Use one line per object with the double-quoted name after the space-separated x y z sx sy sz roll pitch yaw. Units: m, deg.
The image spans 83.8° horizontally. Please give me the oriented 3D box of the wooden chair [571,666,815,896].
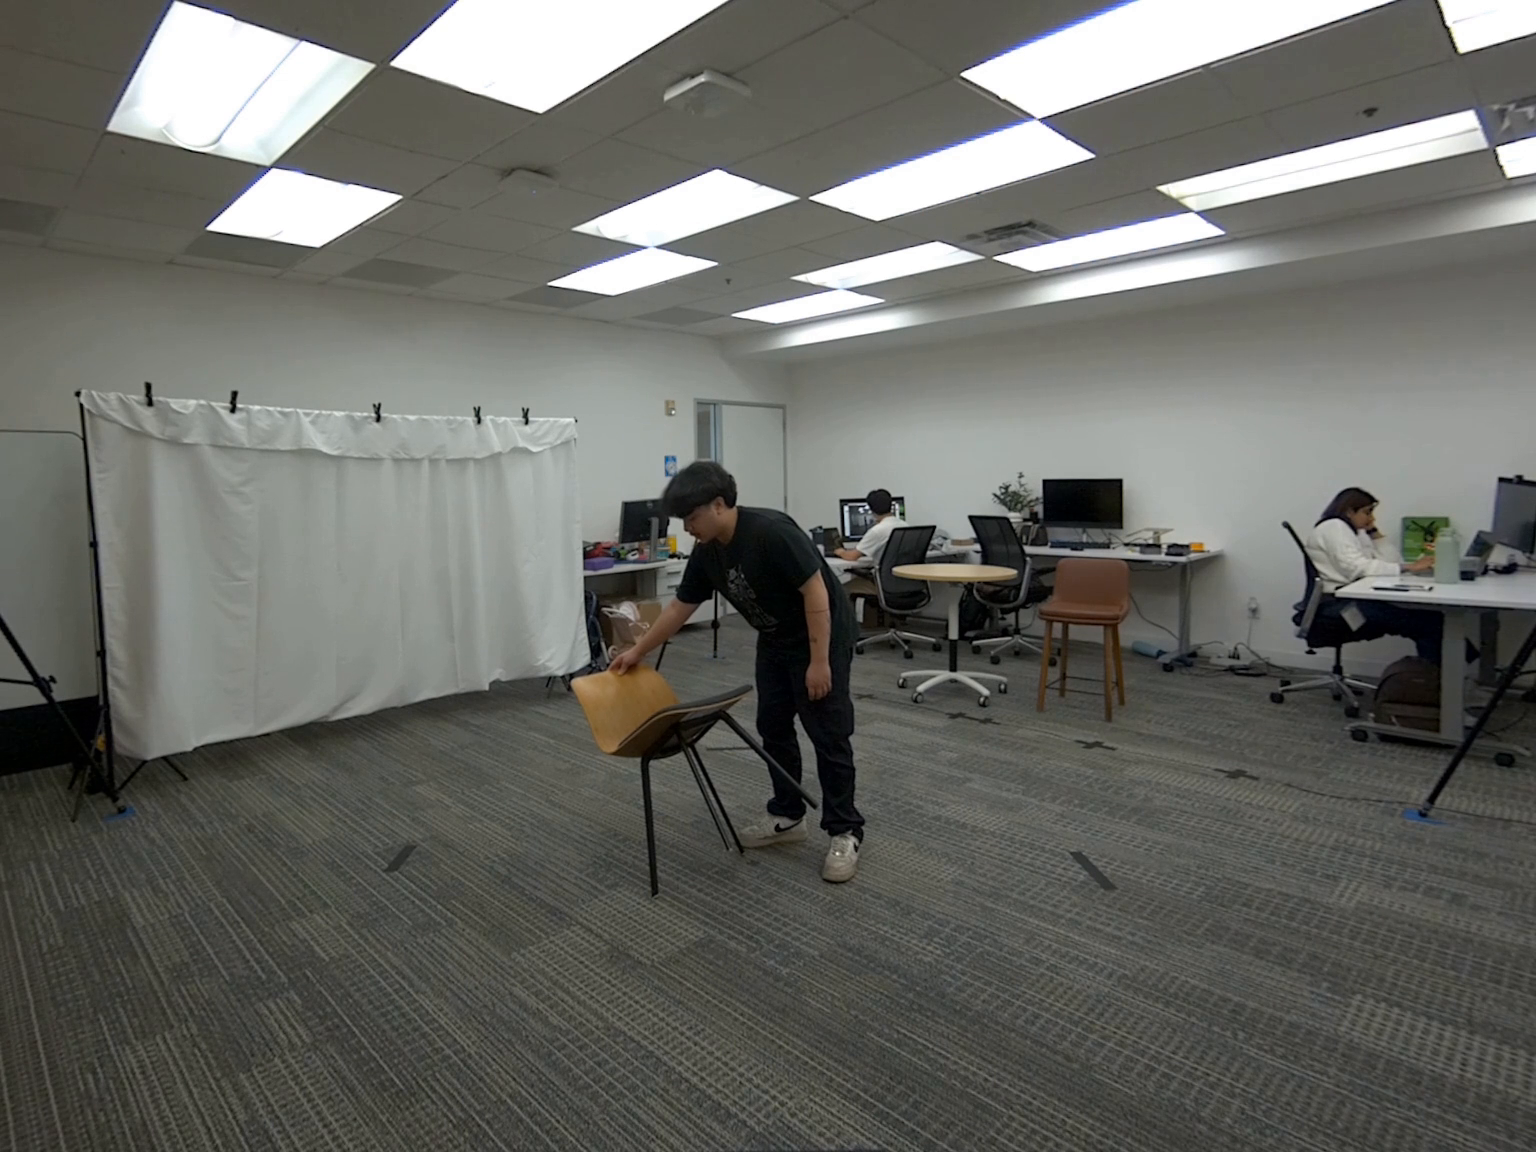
-0.296 0.575 3.032 0.465 0.903 0.522 -5 -36 -46 "wooden chair"
